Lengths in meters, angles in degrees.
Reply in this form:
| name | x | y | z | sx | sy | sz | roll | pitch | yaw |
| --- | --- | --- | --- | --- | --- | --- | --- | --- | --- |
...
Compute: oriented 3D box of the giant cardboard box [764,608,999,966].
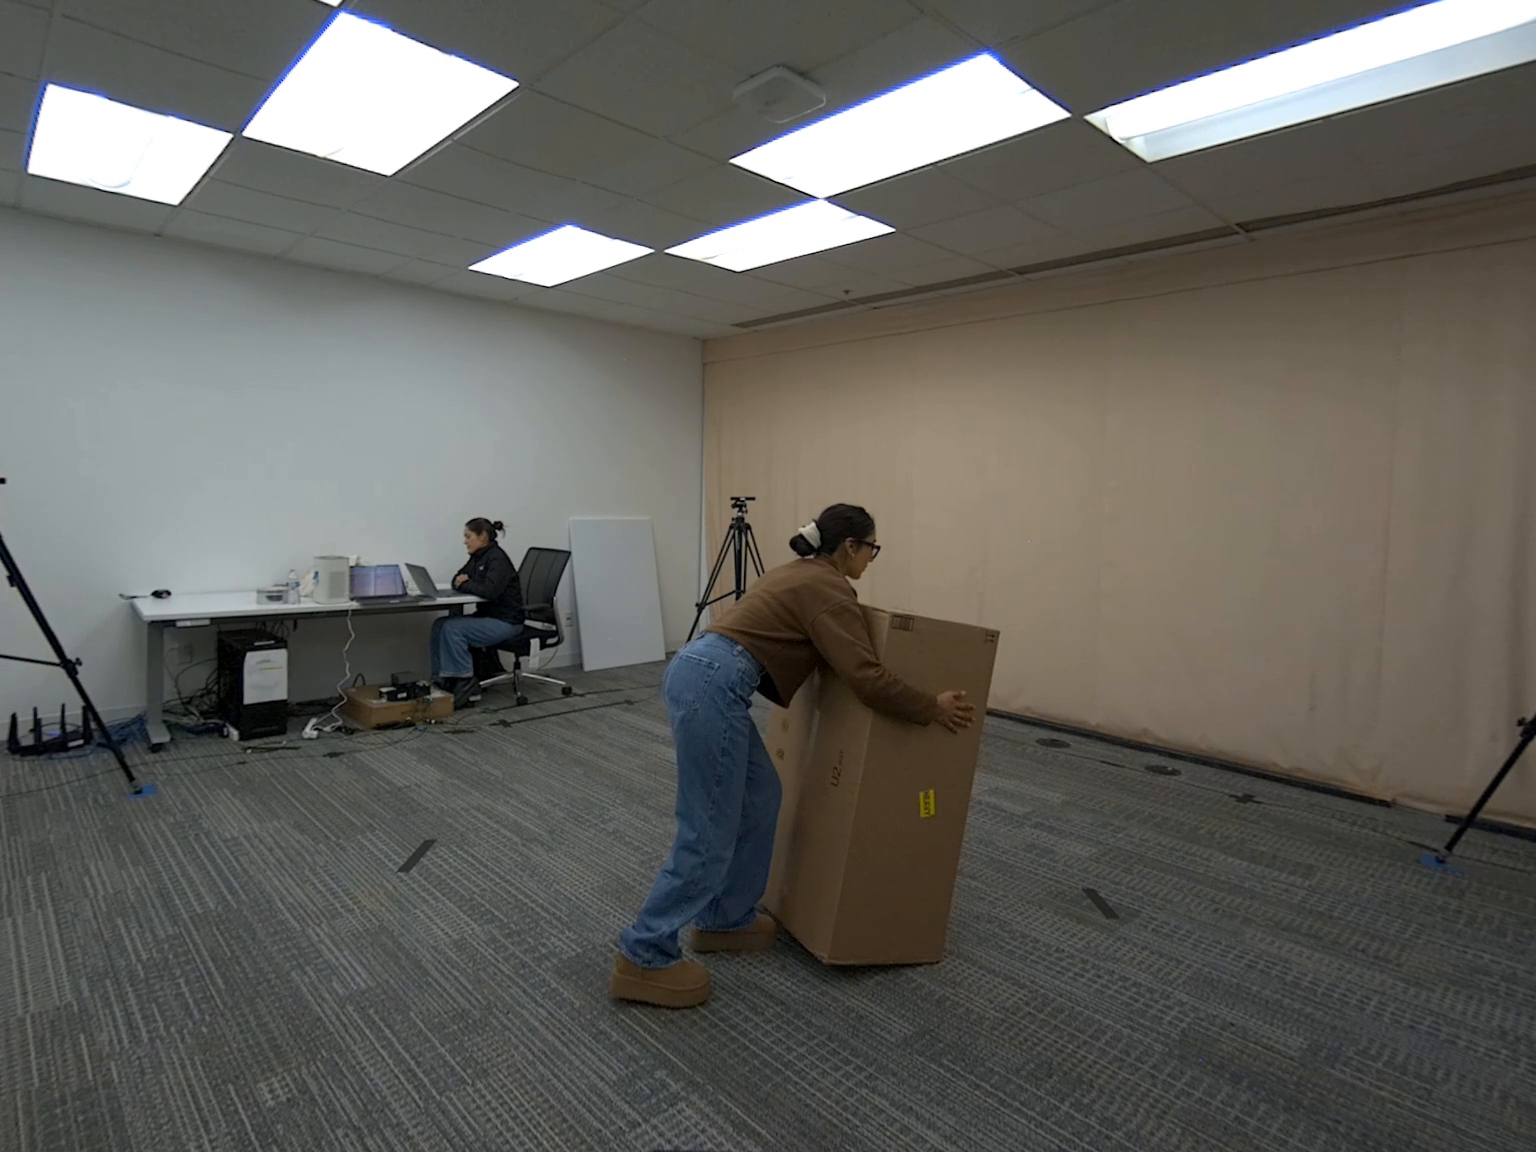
| name | x | y | z | sx | sy | sz | roll | pitch | yaw |
| --- | --- | --- | --- | --- | --- | --- | --- | --- | --- |
| giant cardboard box | 0.312 | 0.610 | 2.742 | 0.417 | 1.027 | 0.590 | 12 | -2 | -27 |
